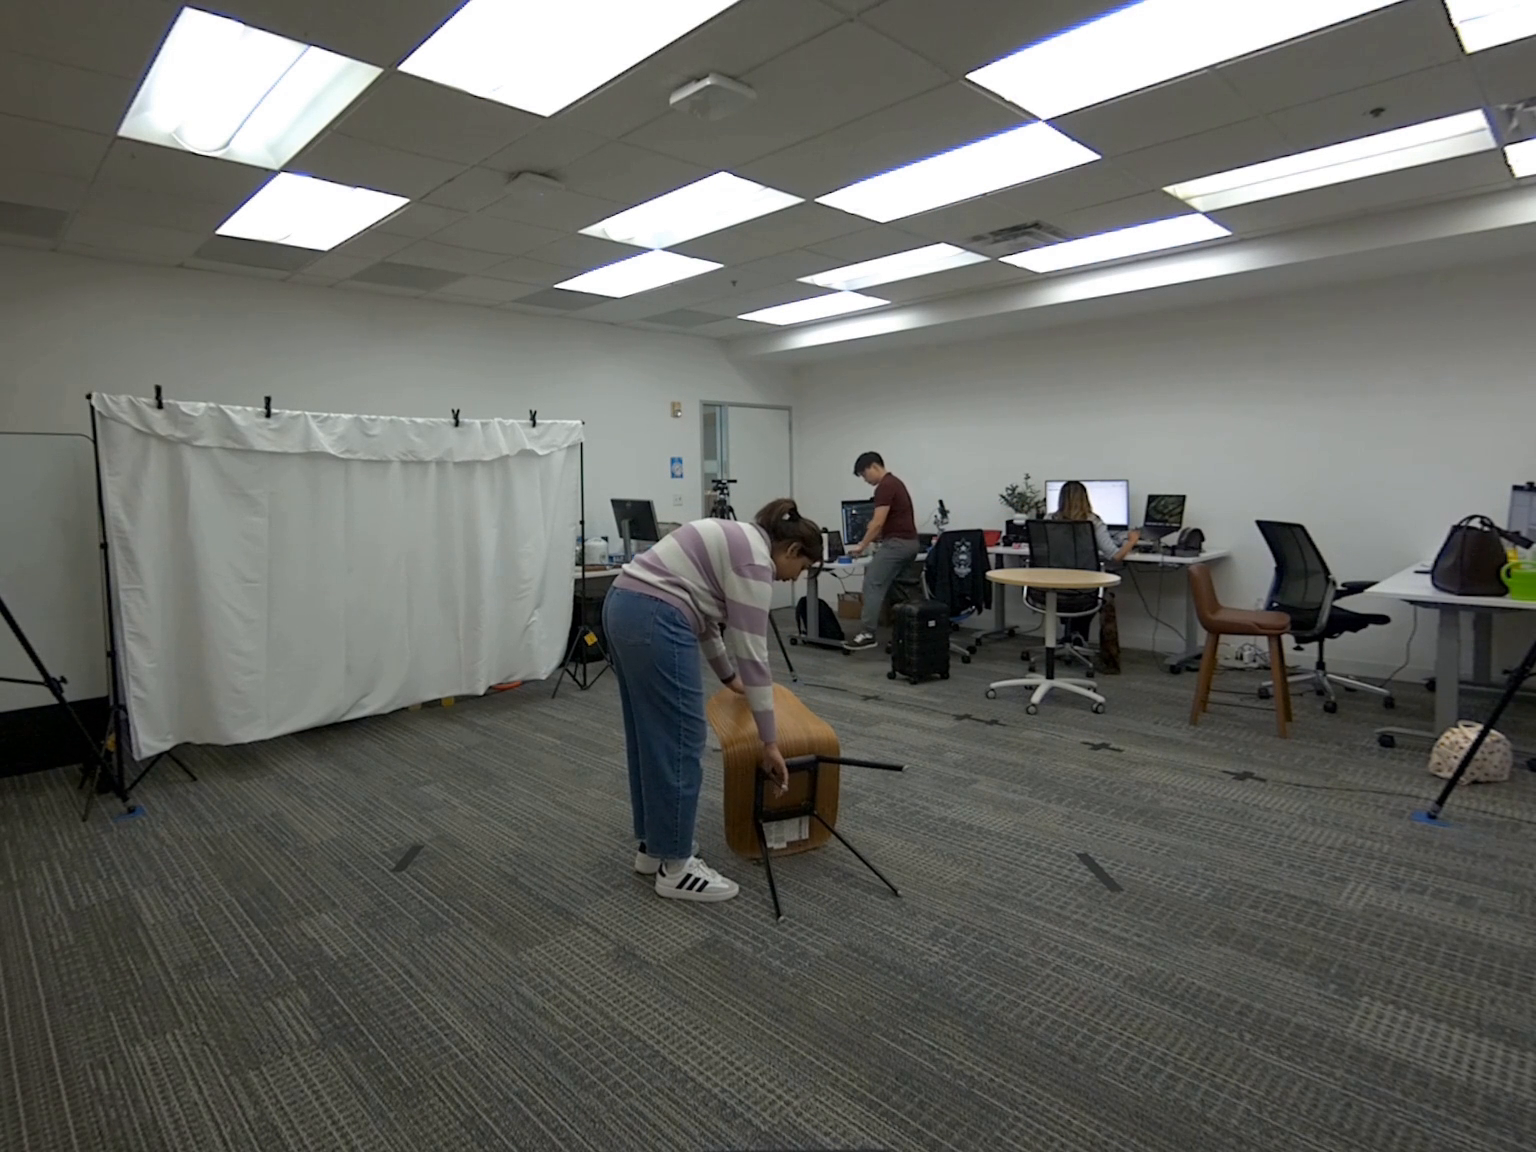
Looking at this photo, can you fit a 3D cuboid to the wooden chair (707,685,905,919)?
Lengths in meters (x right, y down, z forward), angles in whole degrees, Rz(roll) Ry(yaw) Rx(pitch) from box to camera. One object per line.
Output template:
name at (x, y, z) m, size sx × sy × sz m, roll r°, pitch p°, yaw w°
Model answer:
wooden chair at (0.077, 0.783, 3.134) m, size 0.469 × 0.517 × 0.905 m, roll -4°, pitch 15°, yaw -23°
